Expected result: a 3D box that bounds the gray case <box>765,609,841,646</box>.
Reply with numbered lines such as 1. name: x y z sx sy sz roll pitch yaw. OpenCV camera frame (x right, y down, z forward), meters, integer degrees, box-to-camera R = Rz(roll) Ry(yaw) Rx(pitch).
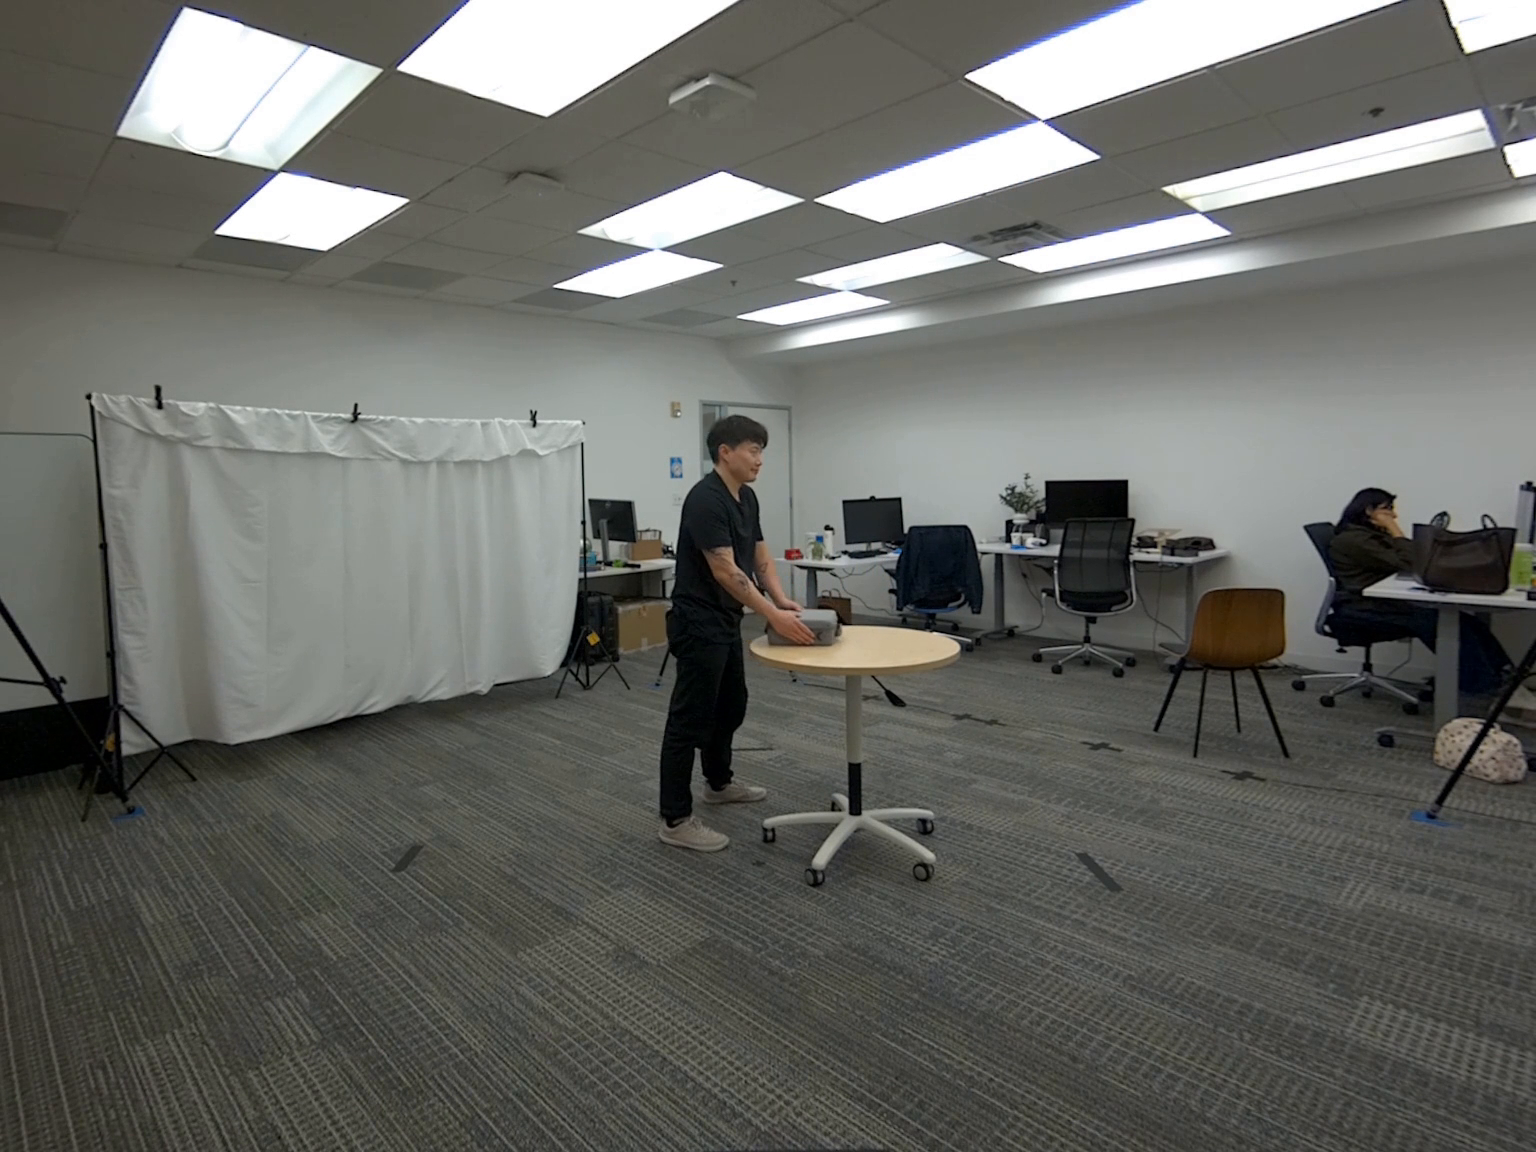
1. gray case: 0.138 0.197 3.258 0.263 0.104 0.255 -1 5 10
